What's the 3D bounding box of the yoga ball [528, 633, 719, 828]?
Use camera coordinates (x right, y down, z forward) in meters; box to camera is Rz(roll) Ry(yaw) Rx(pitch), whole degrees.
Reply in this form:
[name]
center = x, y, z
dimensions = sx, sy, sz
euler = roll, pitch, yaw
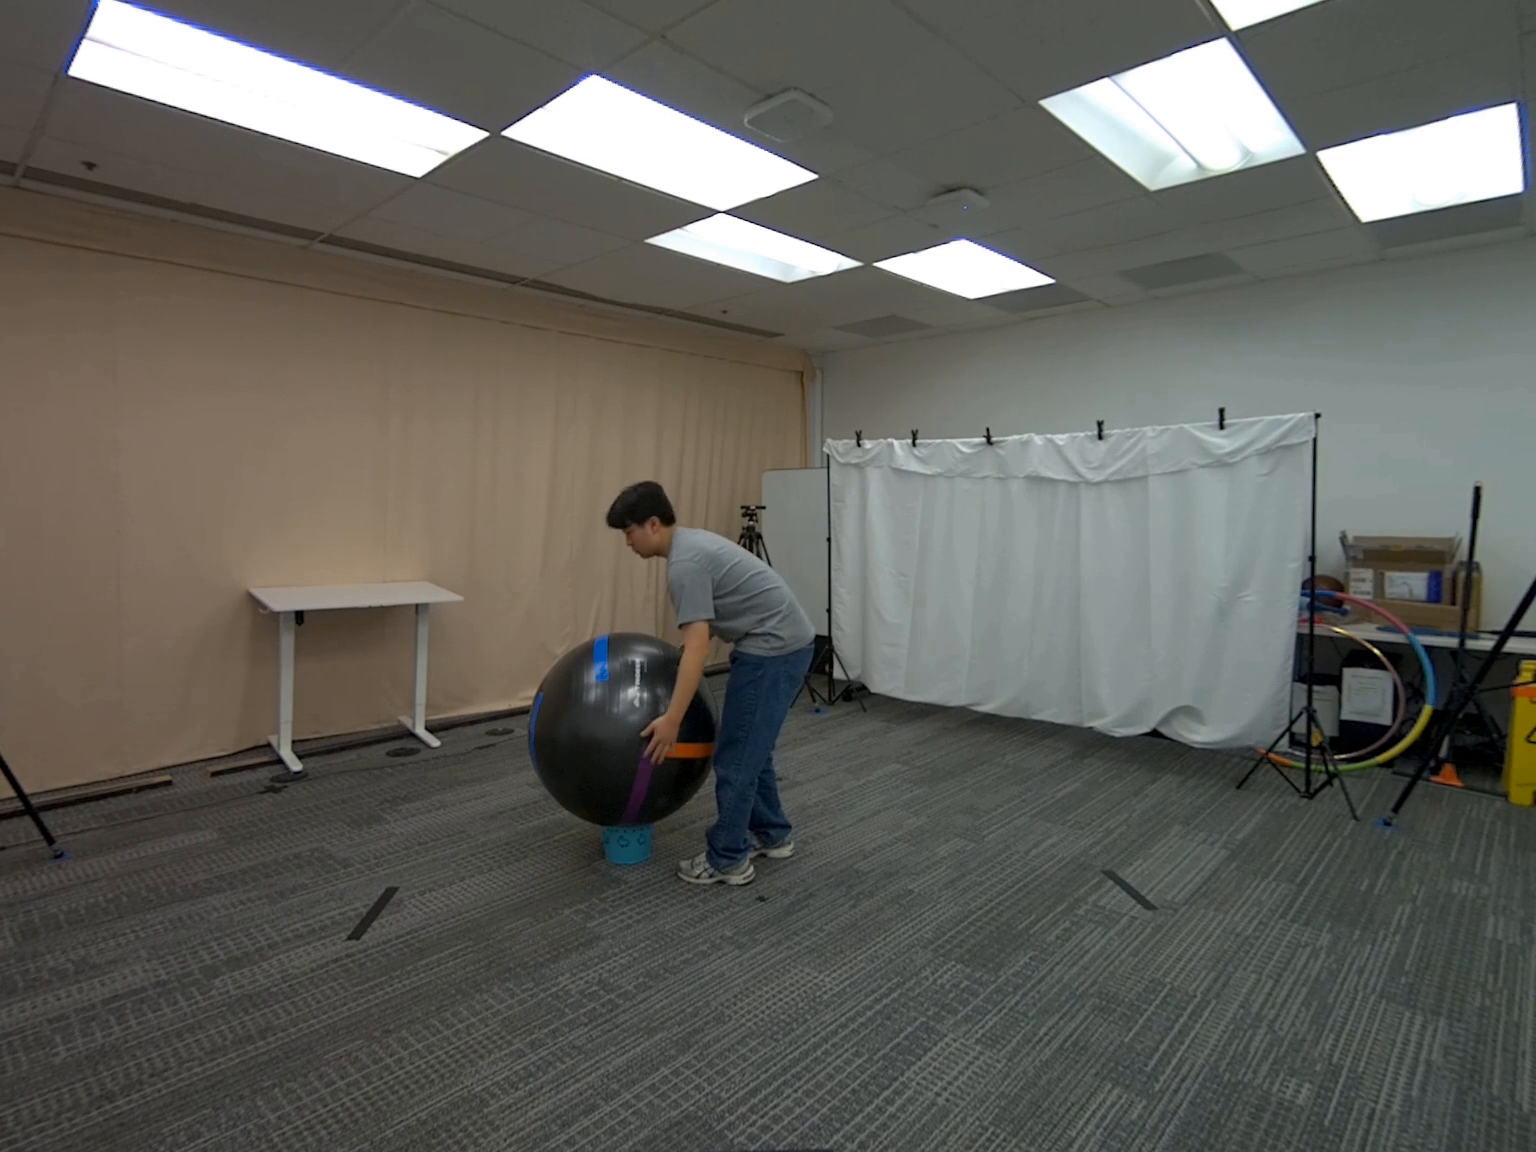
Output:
[yoga ball]
center = -0.569, 0.610, 3.360
dimensions = 0.757, 0.756, 0.761
euler = 0, 4, -2
